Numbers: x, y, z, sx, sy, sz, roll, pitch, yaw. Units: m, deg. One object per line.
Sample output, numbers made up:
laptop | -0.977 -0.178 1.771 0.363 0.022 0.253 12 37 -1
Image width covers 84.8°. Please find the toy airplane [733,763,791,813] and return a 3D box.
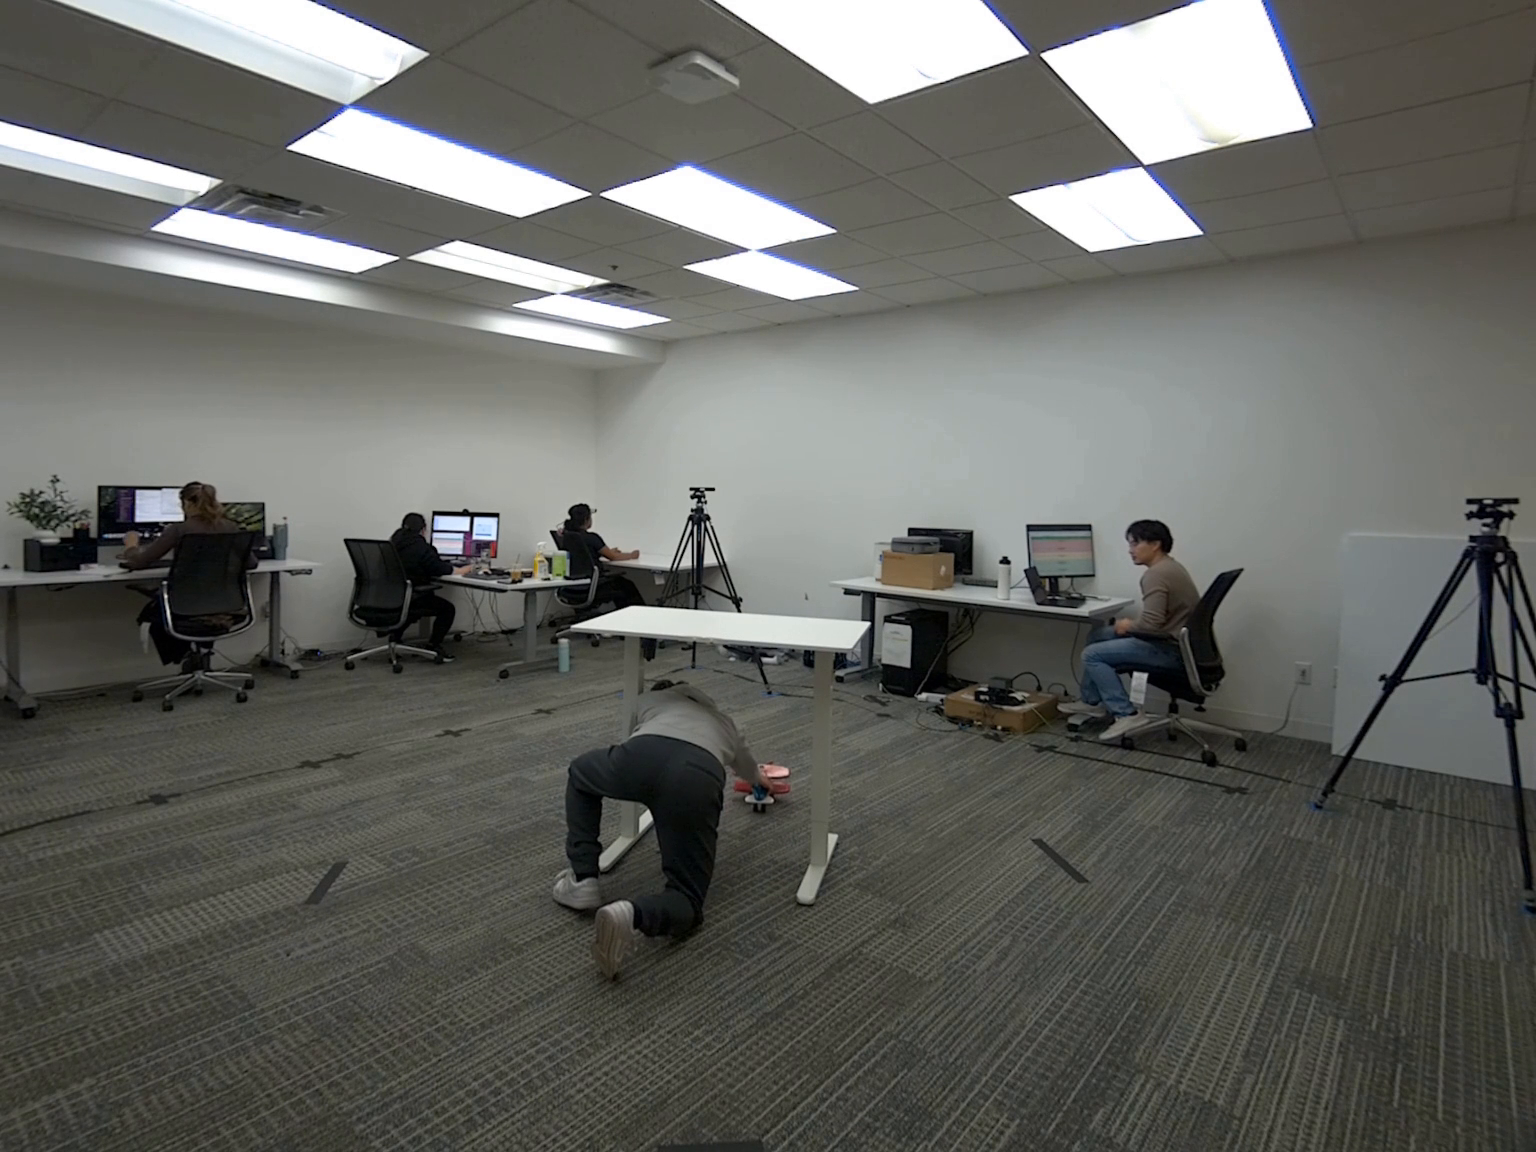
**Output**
toy airplane | -0.023 0.933 3.766 0.245 0.156 0.266 -2 5 -24
